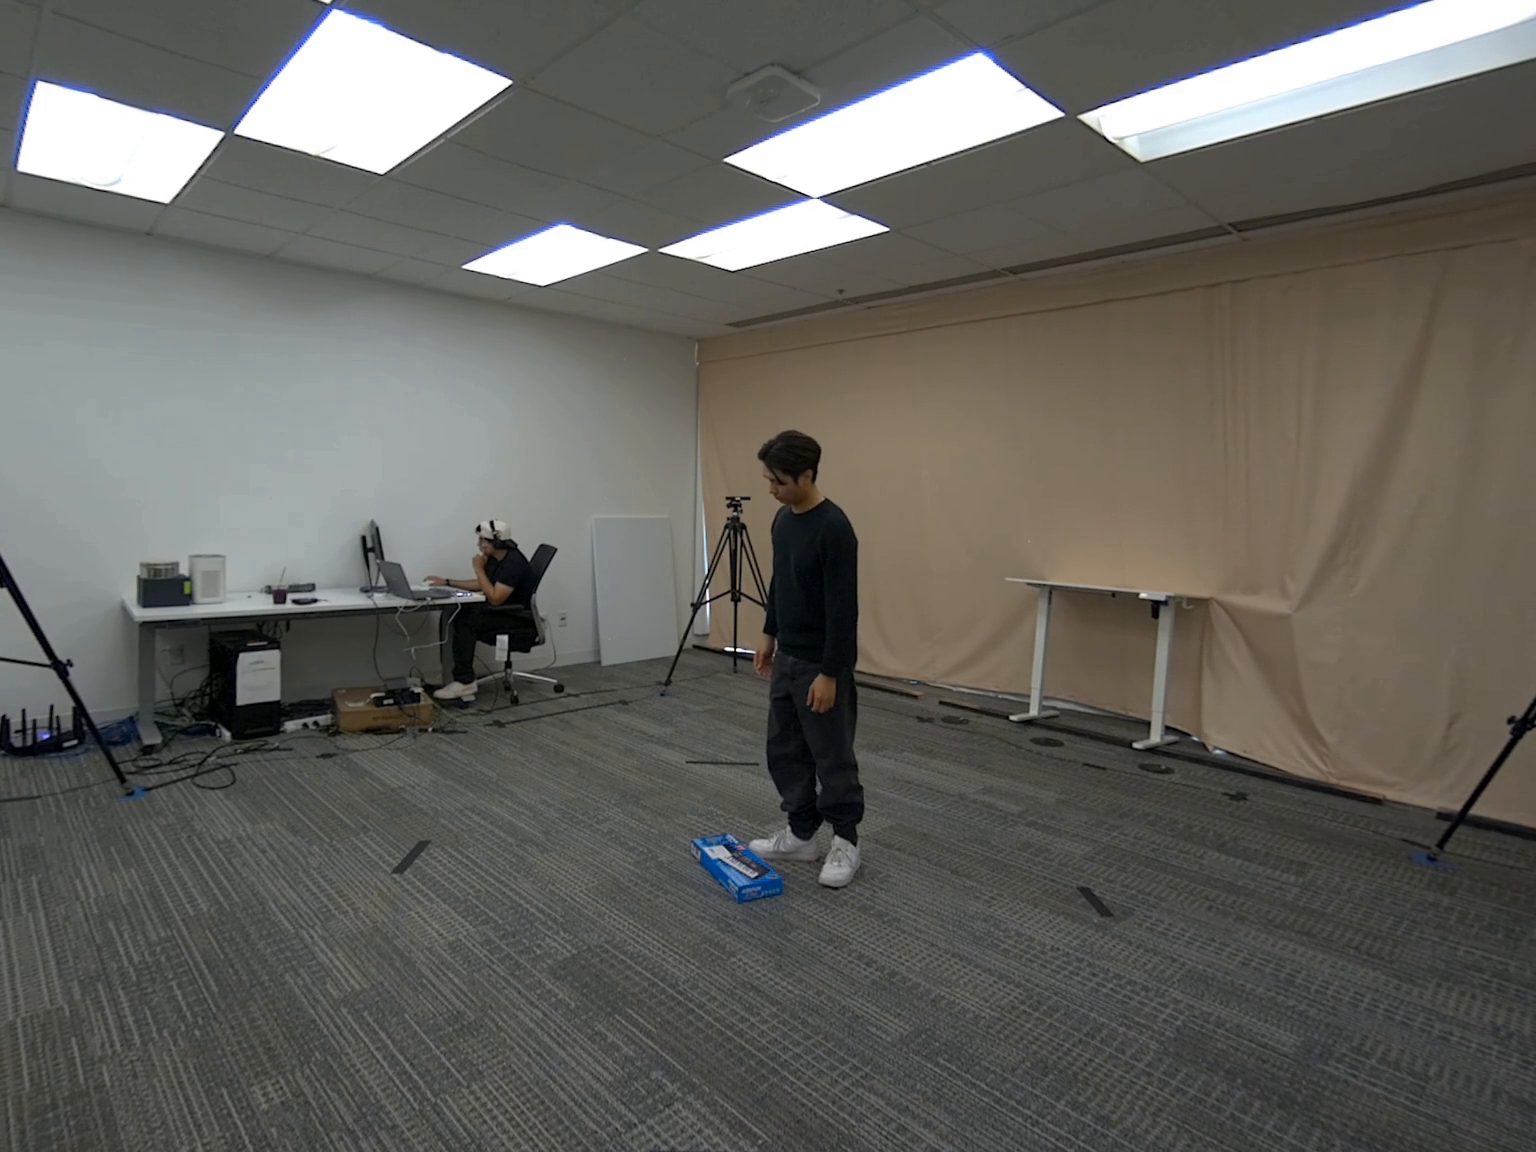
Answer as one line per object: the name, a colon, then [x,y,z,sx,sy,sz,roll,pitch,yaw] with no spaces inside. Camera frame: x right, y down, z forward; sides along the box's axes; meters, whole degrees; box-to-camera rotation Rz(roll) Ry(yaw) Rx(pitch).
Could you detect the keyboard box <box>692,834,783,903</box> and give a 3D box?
keyboard box: [-0.133,1.075,3.121,0.173,0.059,0.446,-1,5,-27]
